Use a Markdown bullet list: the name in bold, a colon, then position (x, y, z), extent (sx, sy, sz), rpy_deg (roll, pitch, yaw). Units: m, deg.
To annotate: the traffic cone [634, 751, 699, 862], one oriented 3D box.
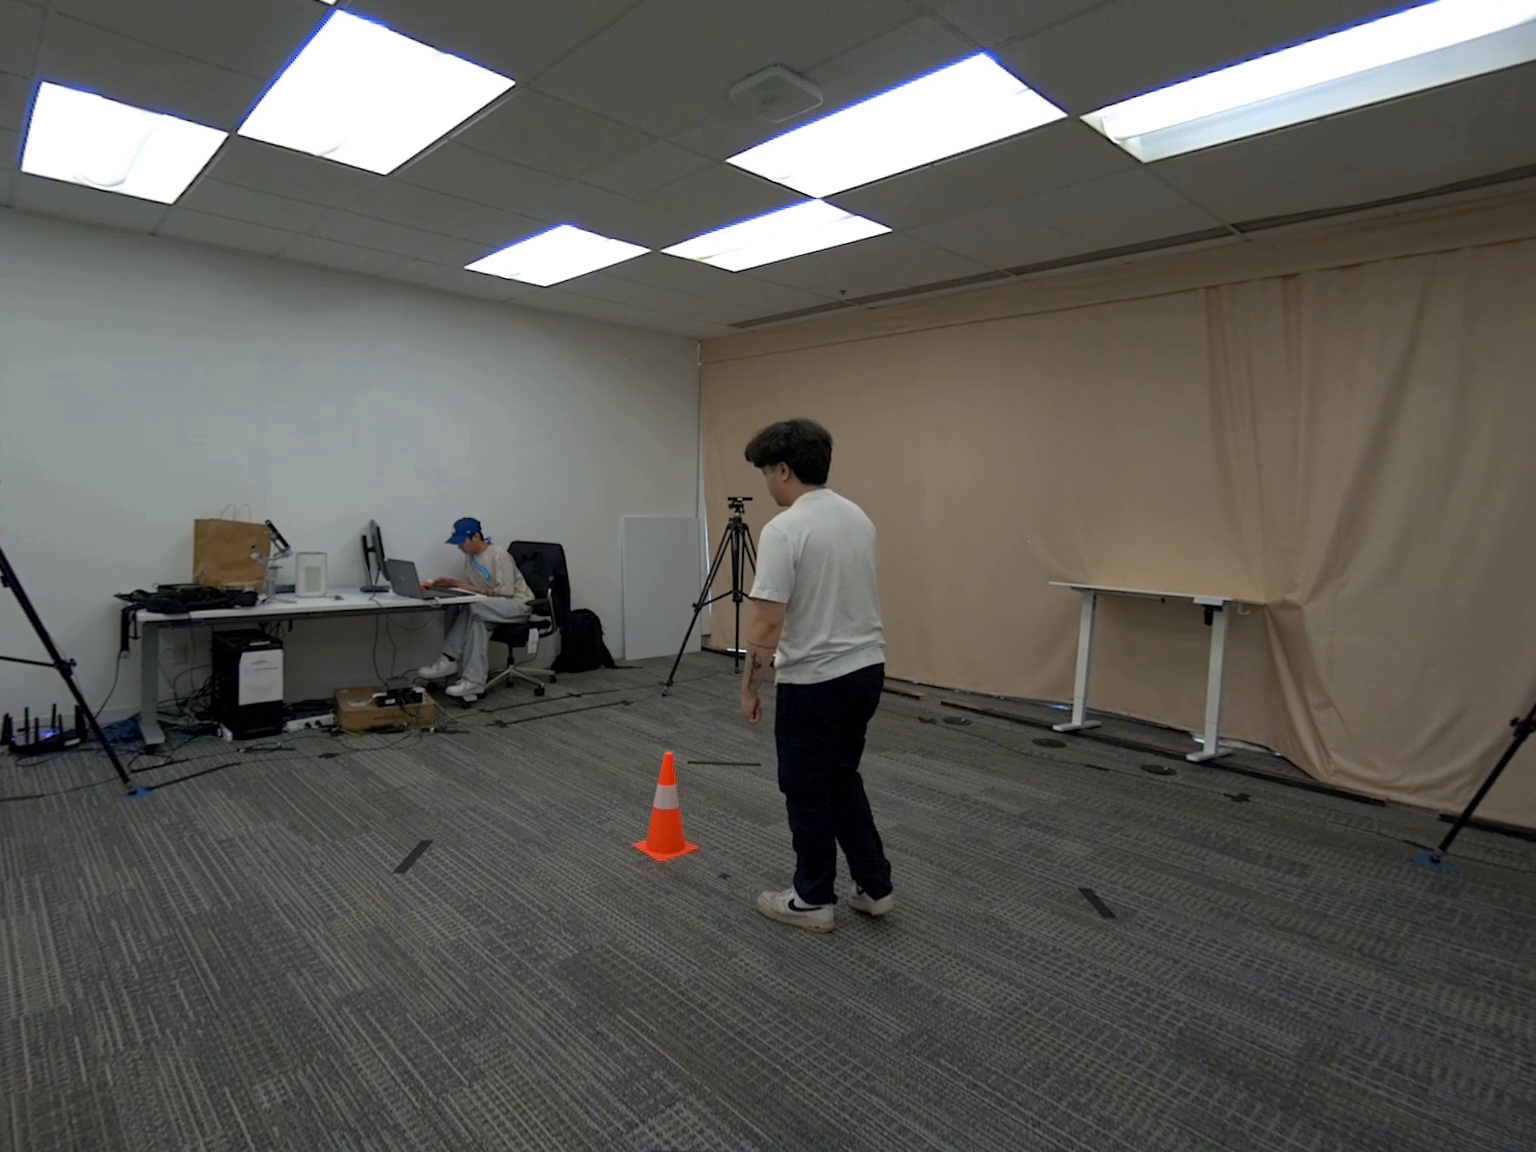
- **traffic cone**: position (-0.413, 0.891, 3.340), extent (0.199, 0.382, 0.210), rpy_deg (-2, 5, -40)
